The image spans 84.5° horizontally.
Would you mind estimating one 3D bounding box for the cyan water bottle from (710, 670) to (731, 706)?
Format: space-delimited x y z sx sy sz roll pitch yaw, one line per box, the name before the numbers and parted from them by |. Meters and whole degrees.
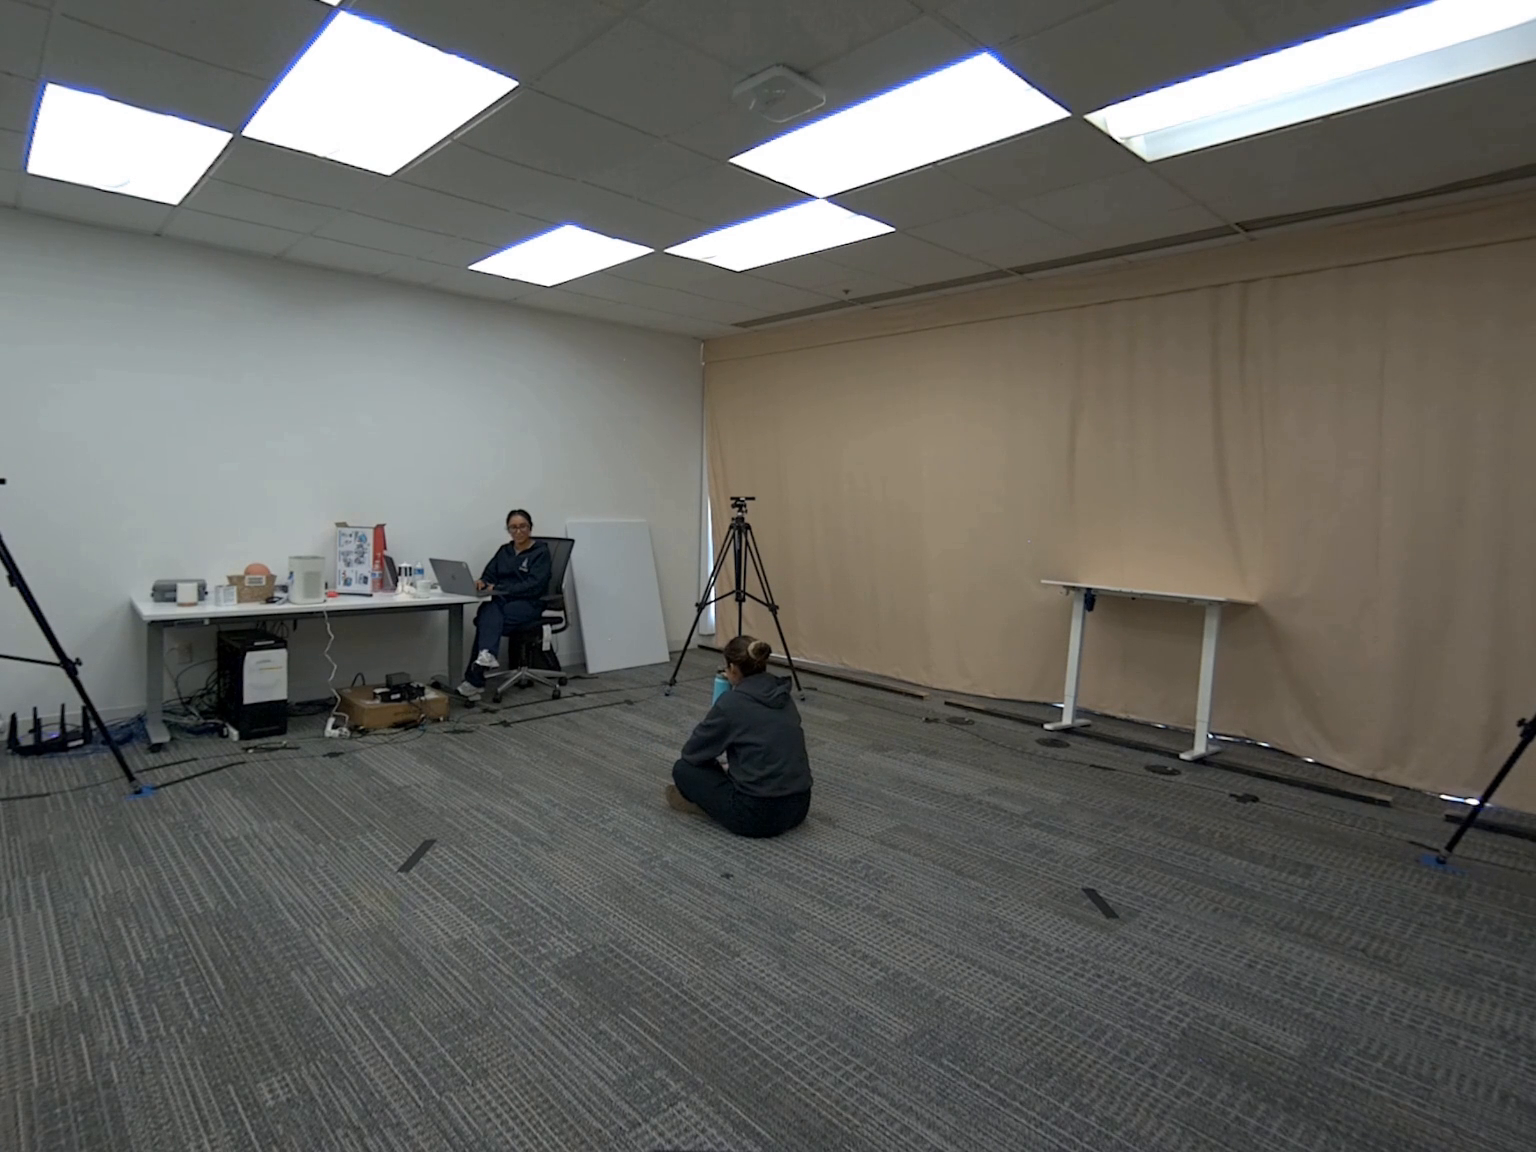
cyan water bottle | -0.225 0.569 4.039 0.092 0.283 0.092 4 1 -2
